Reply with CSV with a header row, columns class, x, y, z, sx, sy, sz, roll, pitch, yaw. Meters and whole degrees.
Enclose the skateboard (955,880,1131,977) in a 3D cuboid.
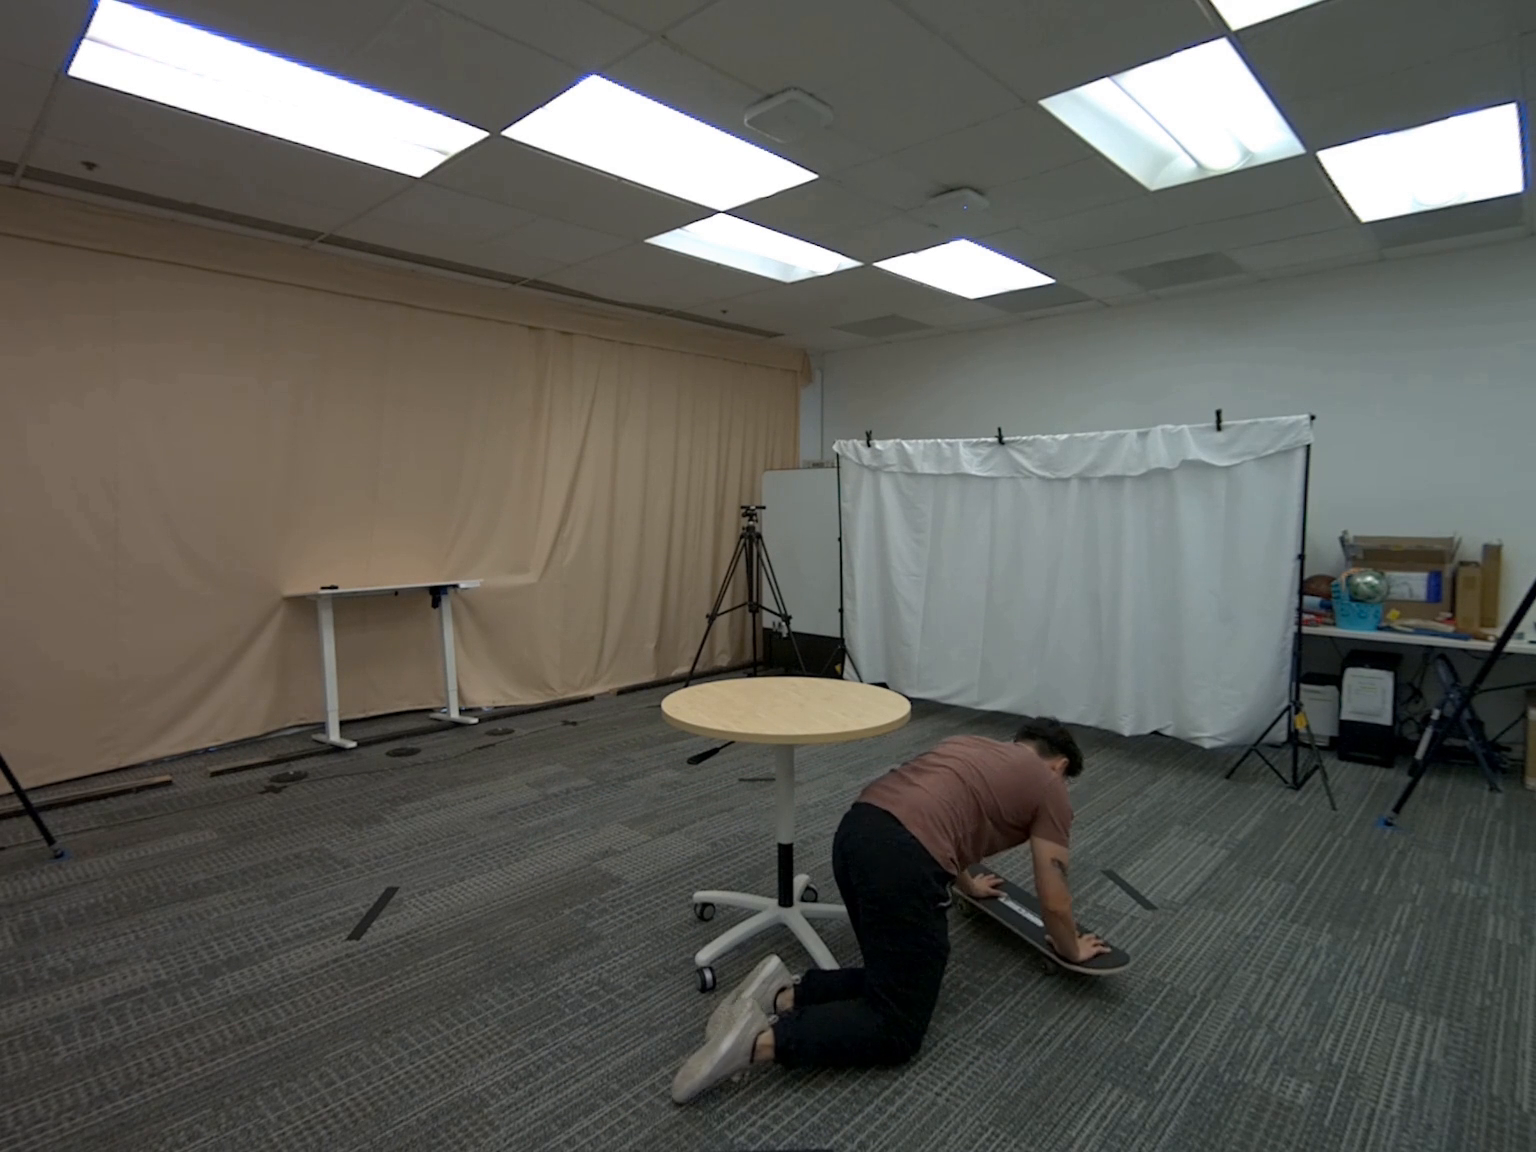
class,x,y,z,sx,sy,sz,roll,pitch,yaw
skateboard,0.817,1.107,2.703,0.189,0.110,0.804,-4,6,-21
